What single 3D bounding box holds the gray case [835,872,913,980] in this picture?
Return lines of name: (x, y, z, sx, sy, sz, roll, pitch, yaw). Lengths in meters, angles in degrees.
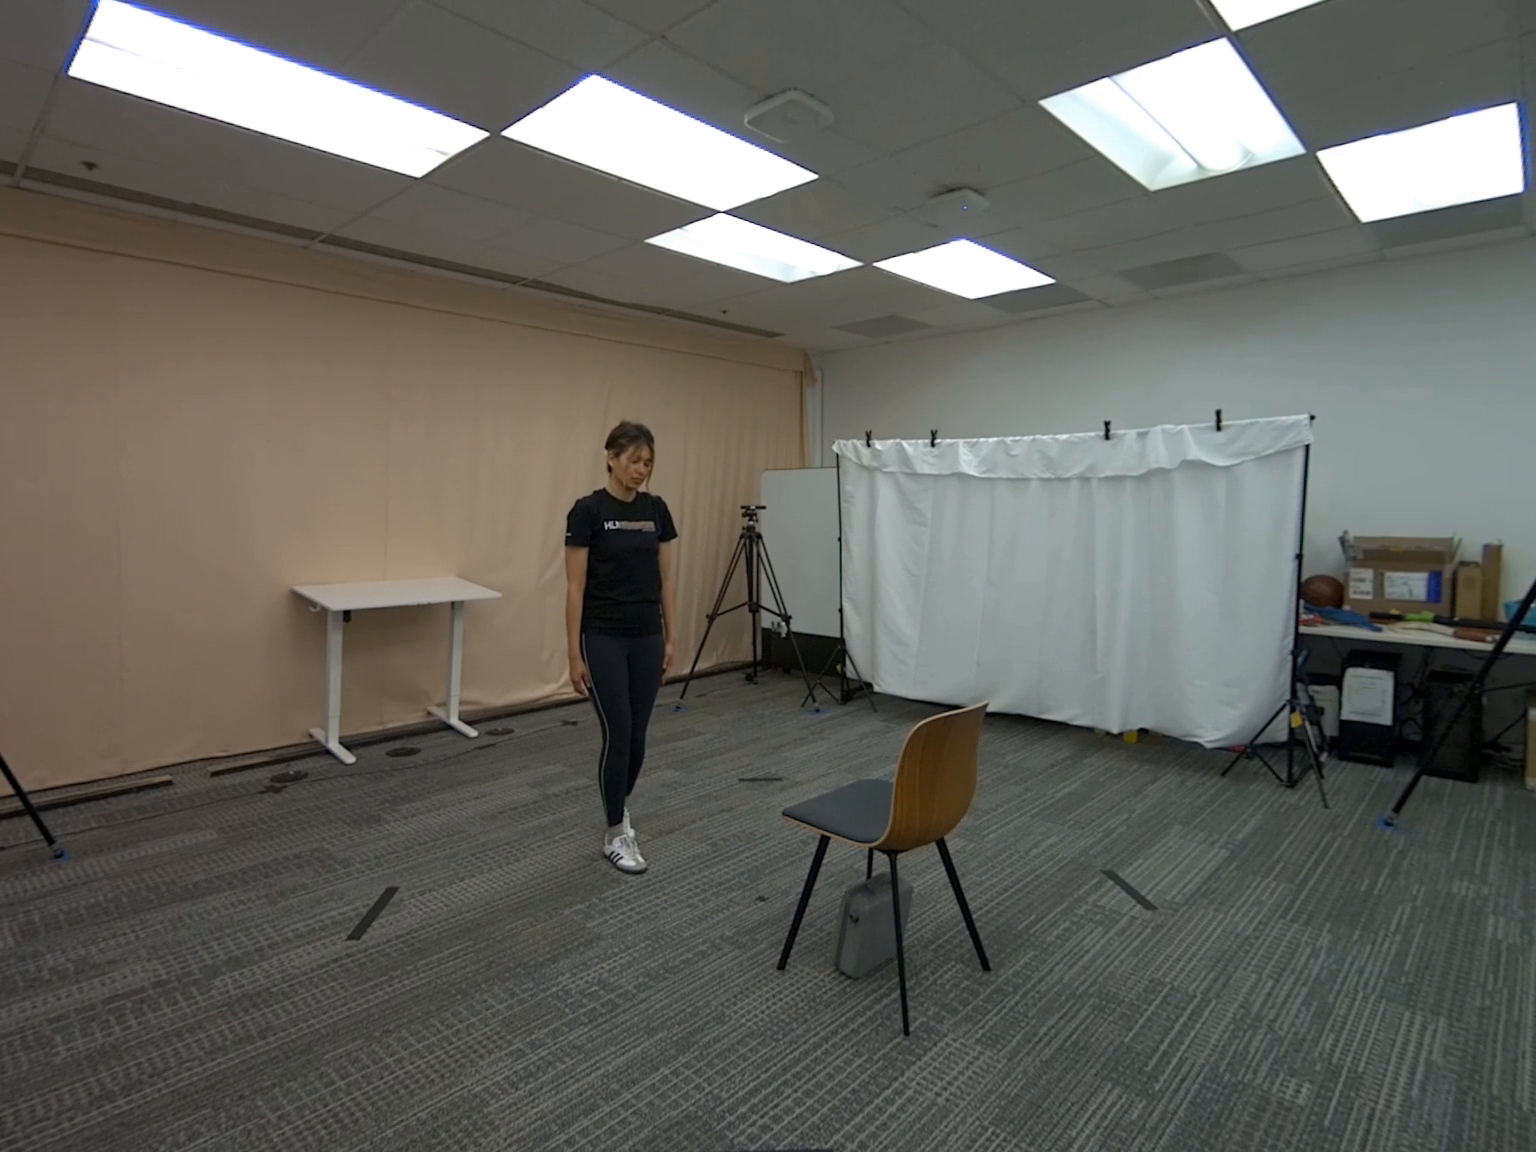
gray case: (0.324, 1.051, 2.551, 0.249, 0.259, 0.108, -4, 15, -42)
